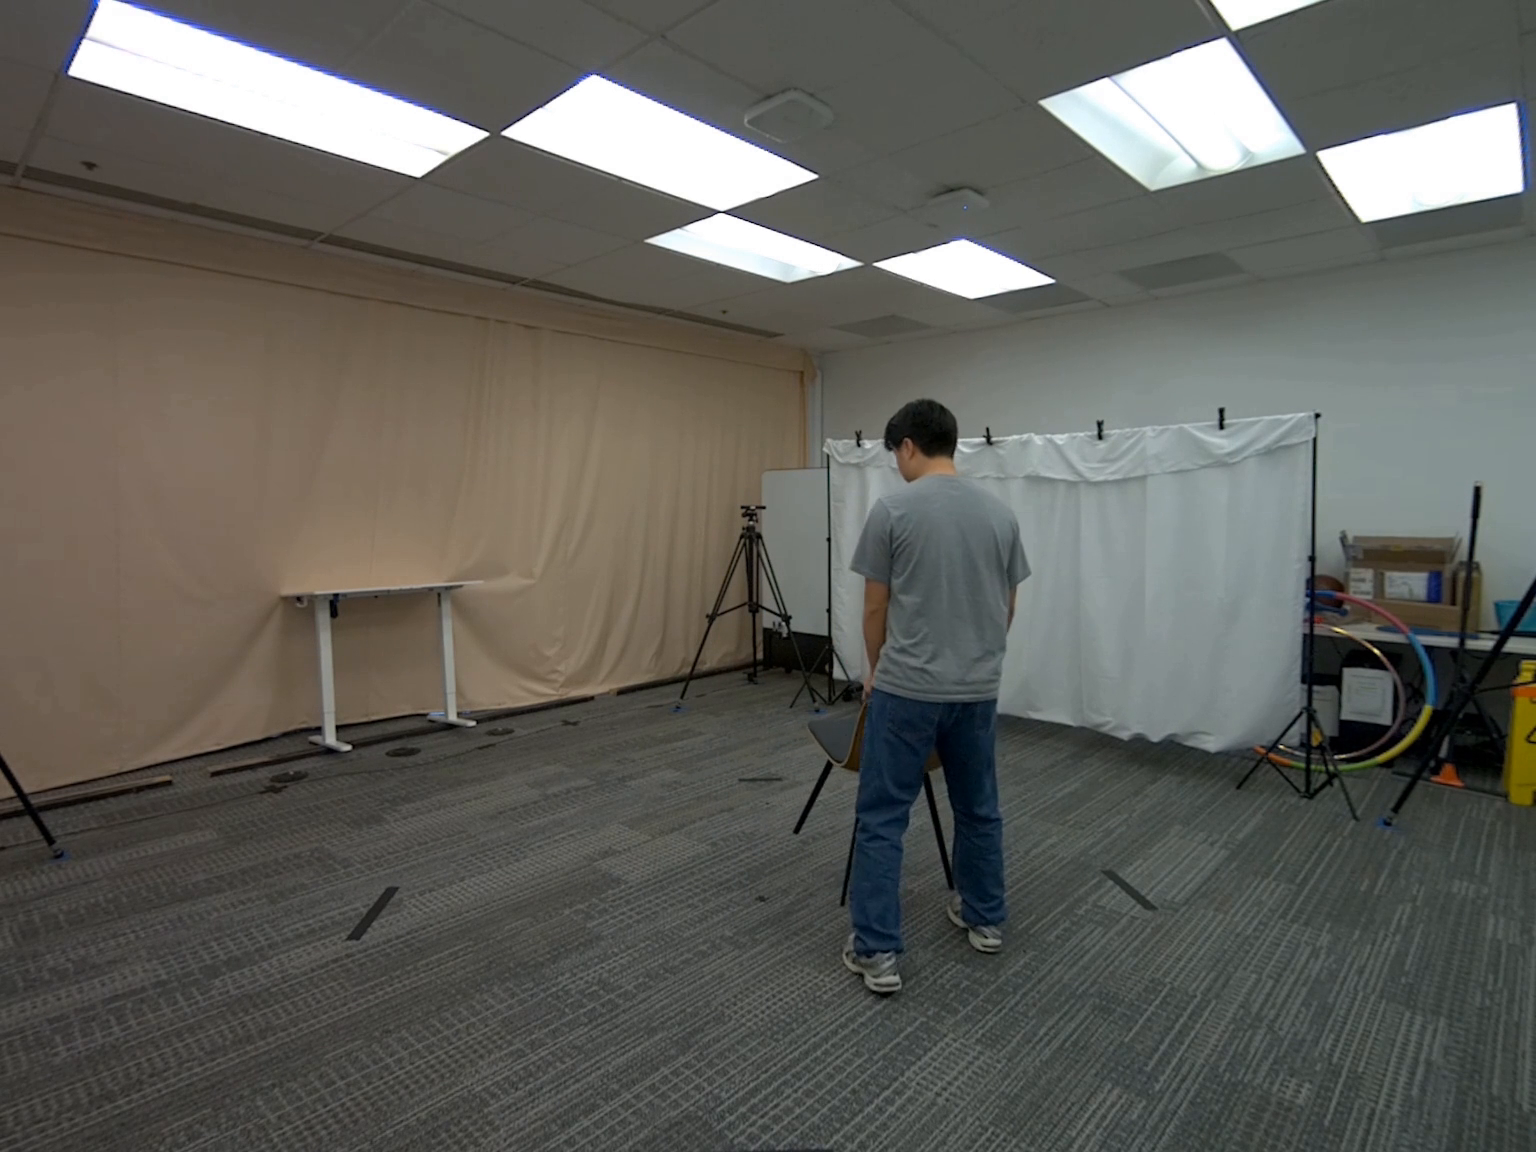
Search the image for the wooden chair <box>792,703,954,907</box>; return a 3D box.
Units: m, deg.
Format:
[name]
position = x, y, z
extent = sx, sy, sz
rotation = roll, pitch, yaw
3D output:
[wooden chair]
position = 0.411, 0.668, 3.088
extent = 0.469, 0.869, 0.538
rotation = -2, 20, -19
